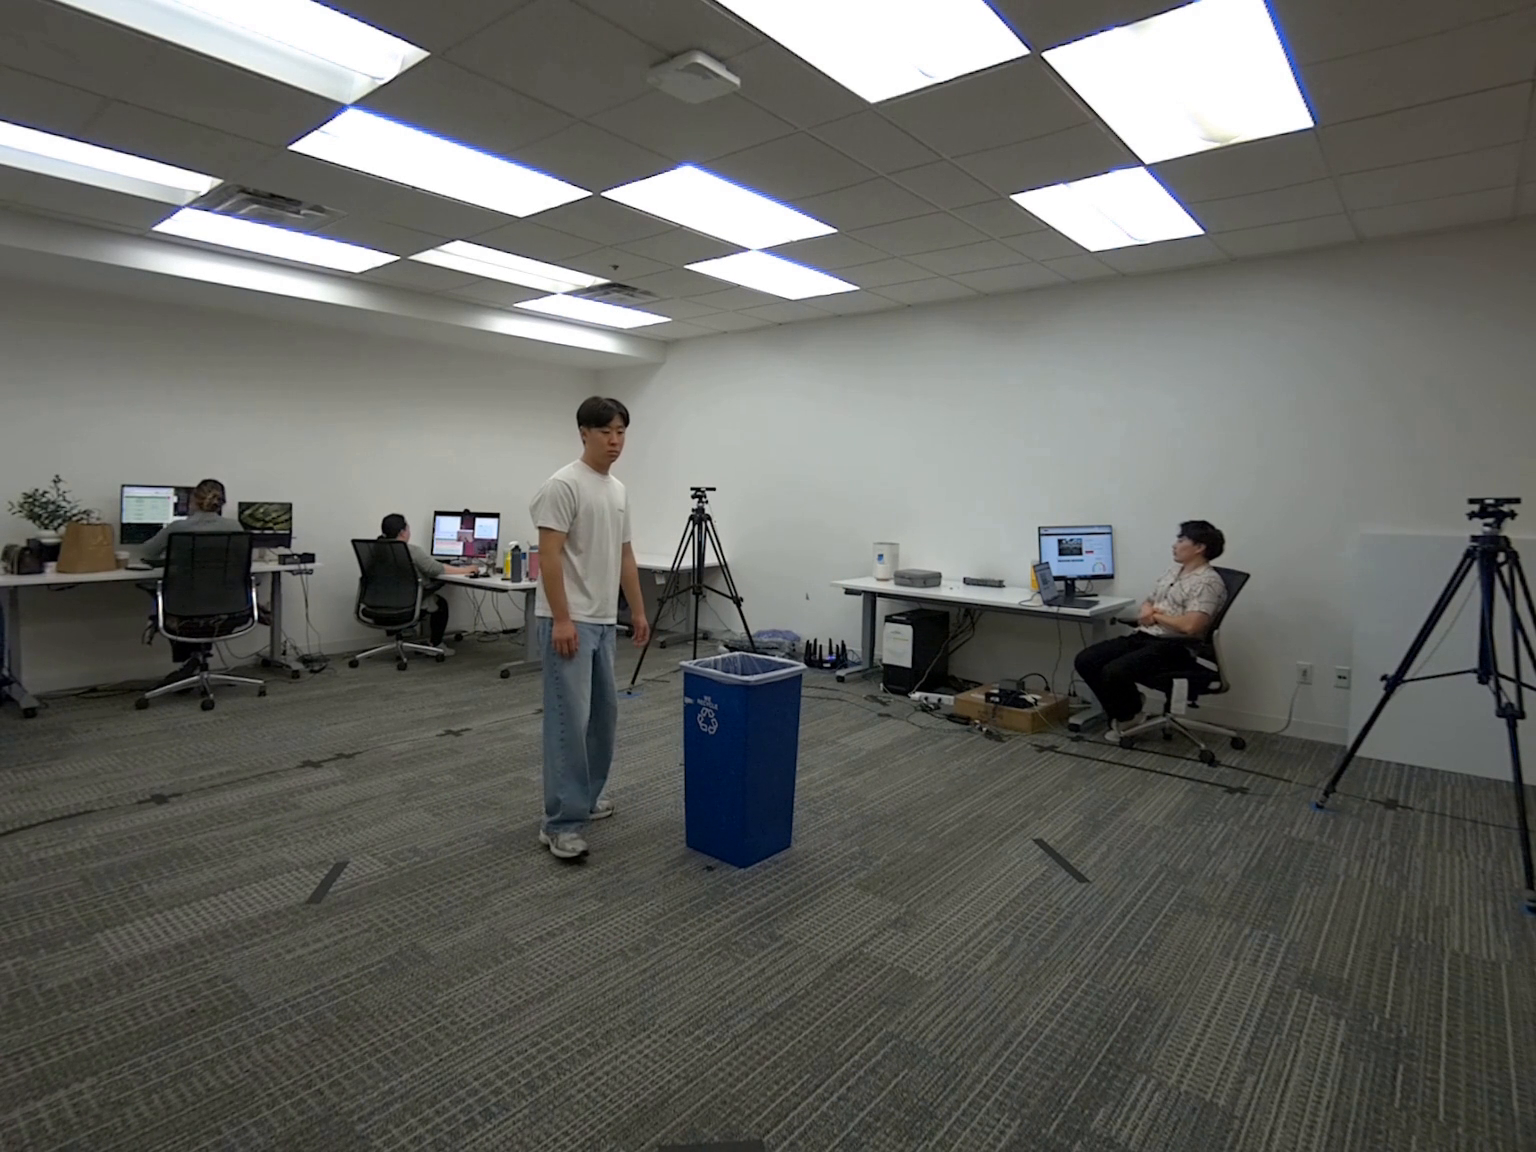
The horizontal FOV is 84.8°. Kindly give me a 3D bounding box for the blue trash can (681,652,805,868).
[{"bbox_3d":[-0.108,0.691,3.292,0.386,0.712,0.367,4,4,40],"label":"blue trash can"}]
